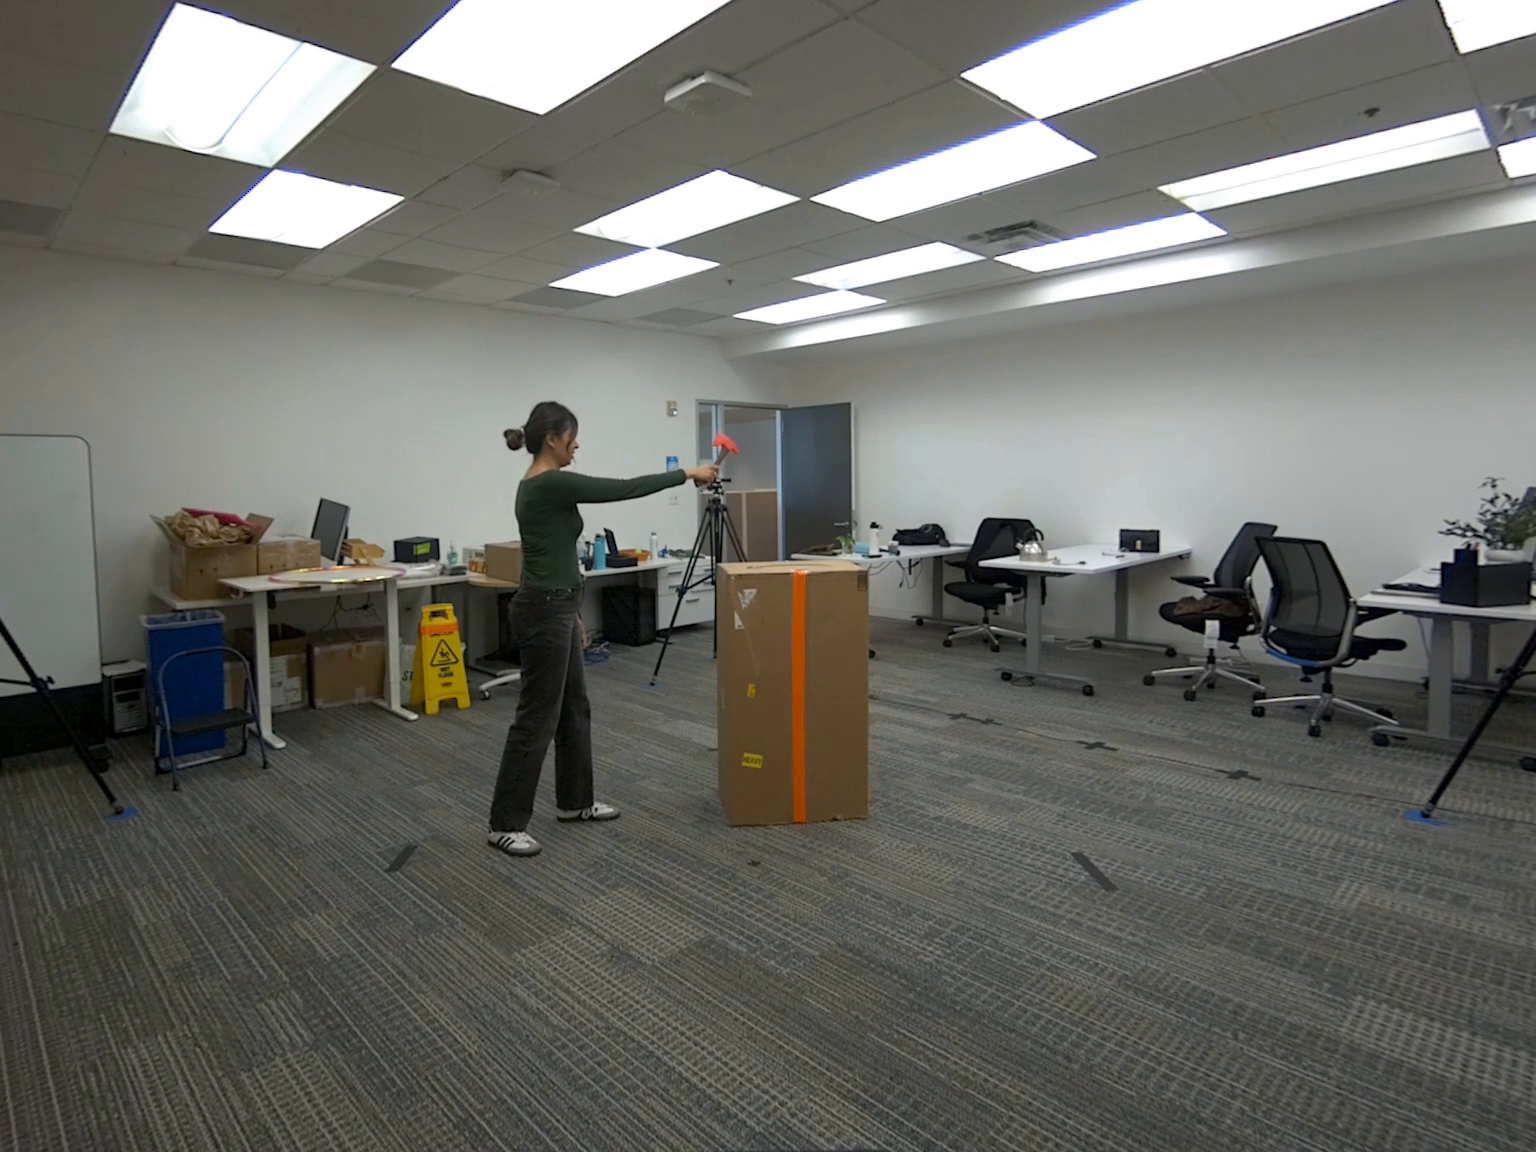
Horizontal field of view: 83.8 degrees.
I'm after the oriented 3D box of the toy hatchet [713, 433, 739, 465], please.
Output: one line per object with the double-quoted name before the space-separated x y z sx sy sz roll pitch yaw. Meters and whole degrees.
"toy hatchet" -0.232 -0.471 3.473 0.030 0.128 0.269 -6 30 51
